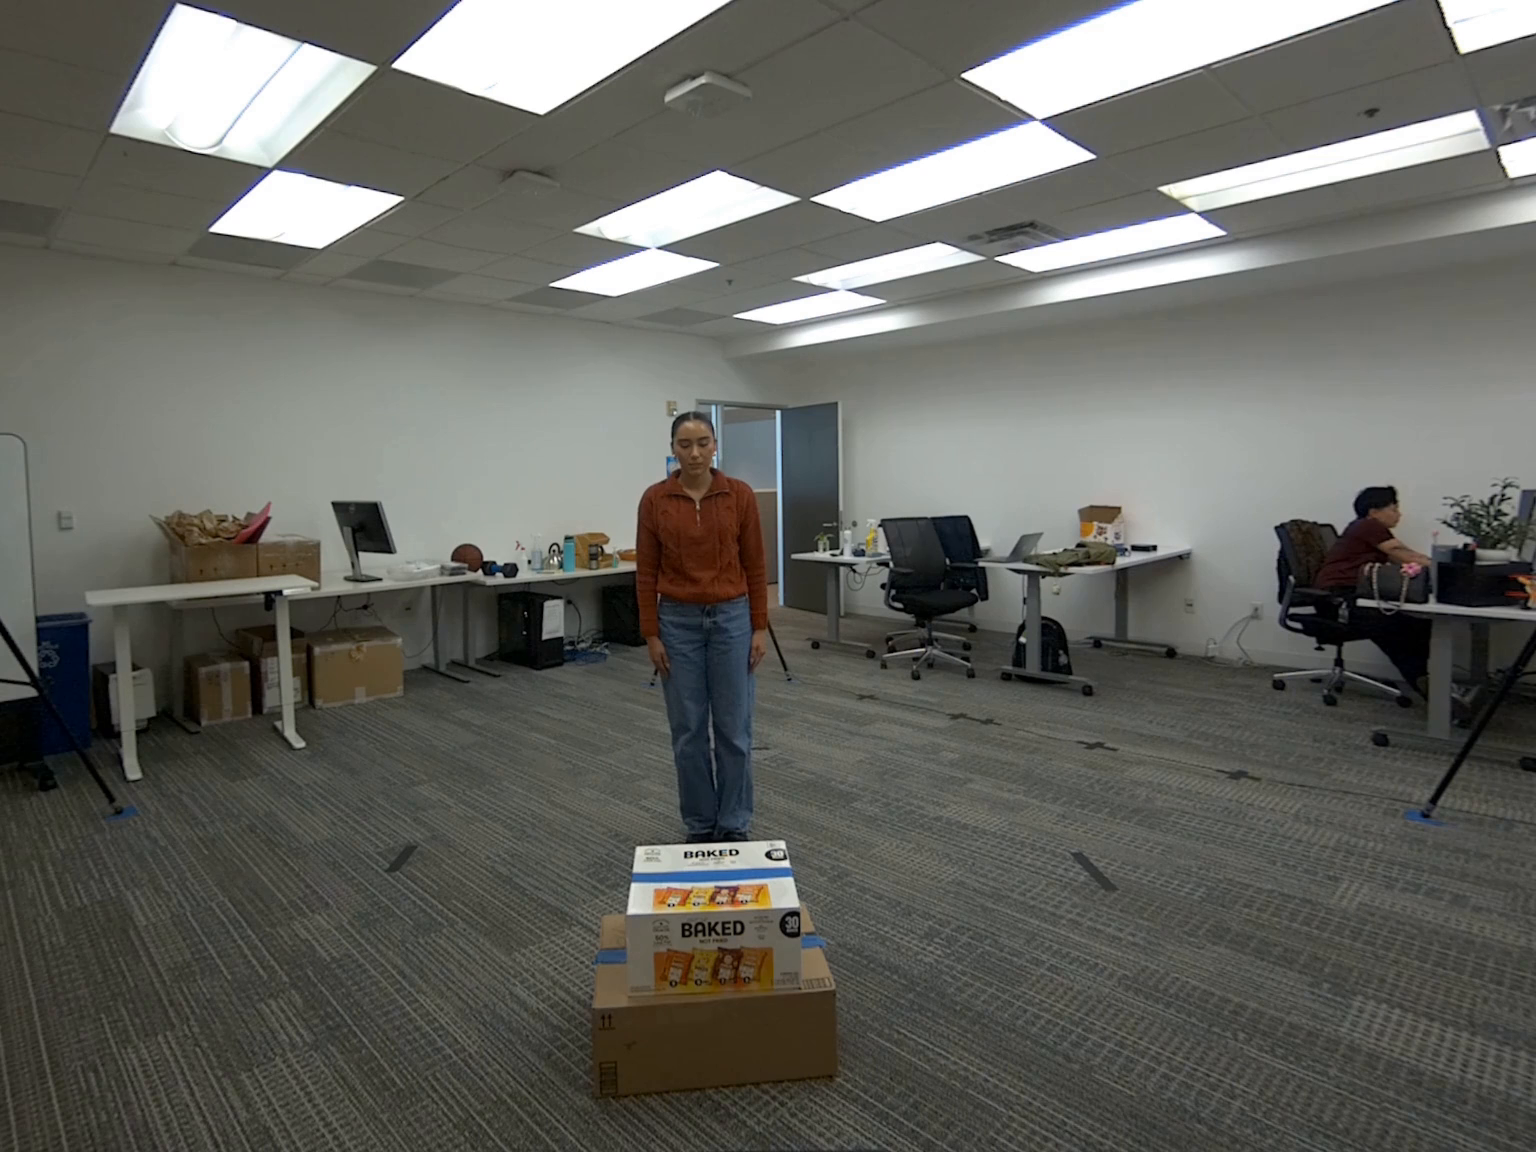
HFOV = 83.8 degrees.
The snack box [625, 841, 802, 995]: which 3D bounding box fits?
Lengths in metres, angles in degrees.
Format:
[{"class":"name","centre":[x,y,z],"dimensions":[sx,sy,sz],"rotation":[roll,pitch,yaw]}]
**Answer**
[{"class":"snack box","centre":[-0.139,0.847,2.128],"dimensions":[0.404,0.204,0.343],"rotation":[-2,8,-3]}]
